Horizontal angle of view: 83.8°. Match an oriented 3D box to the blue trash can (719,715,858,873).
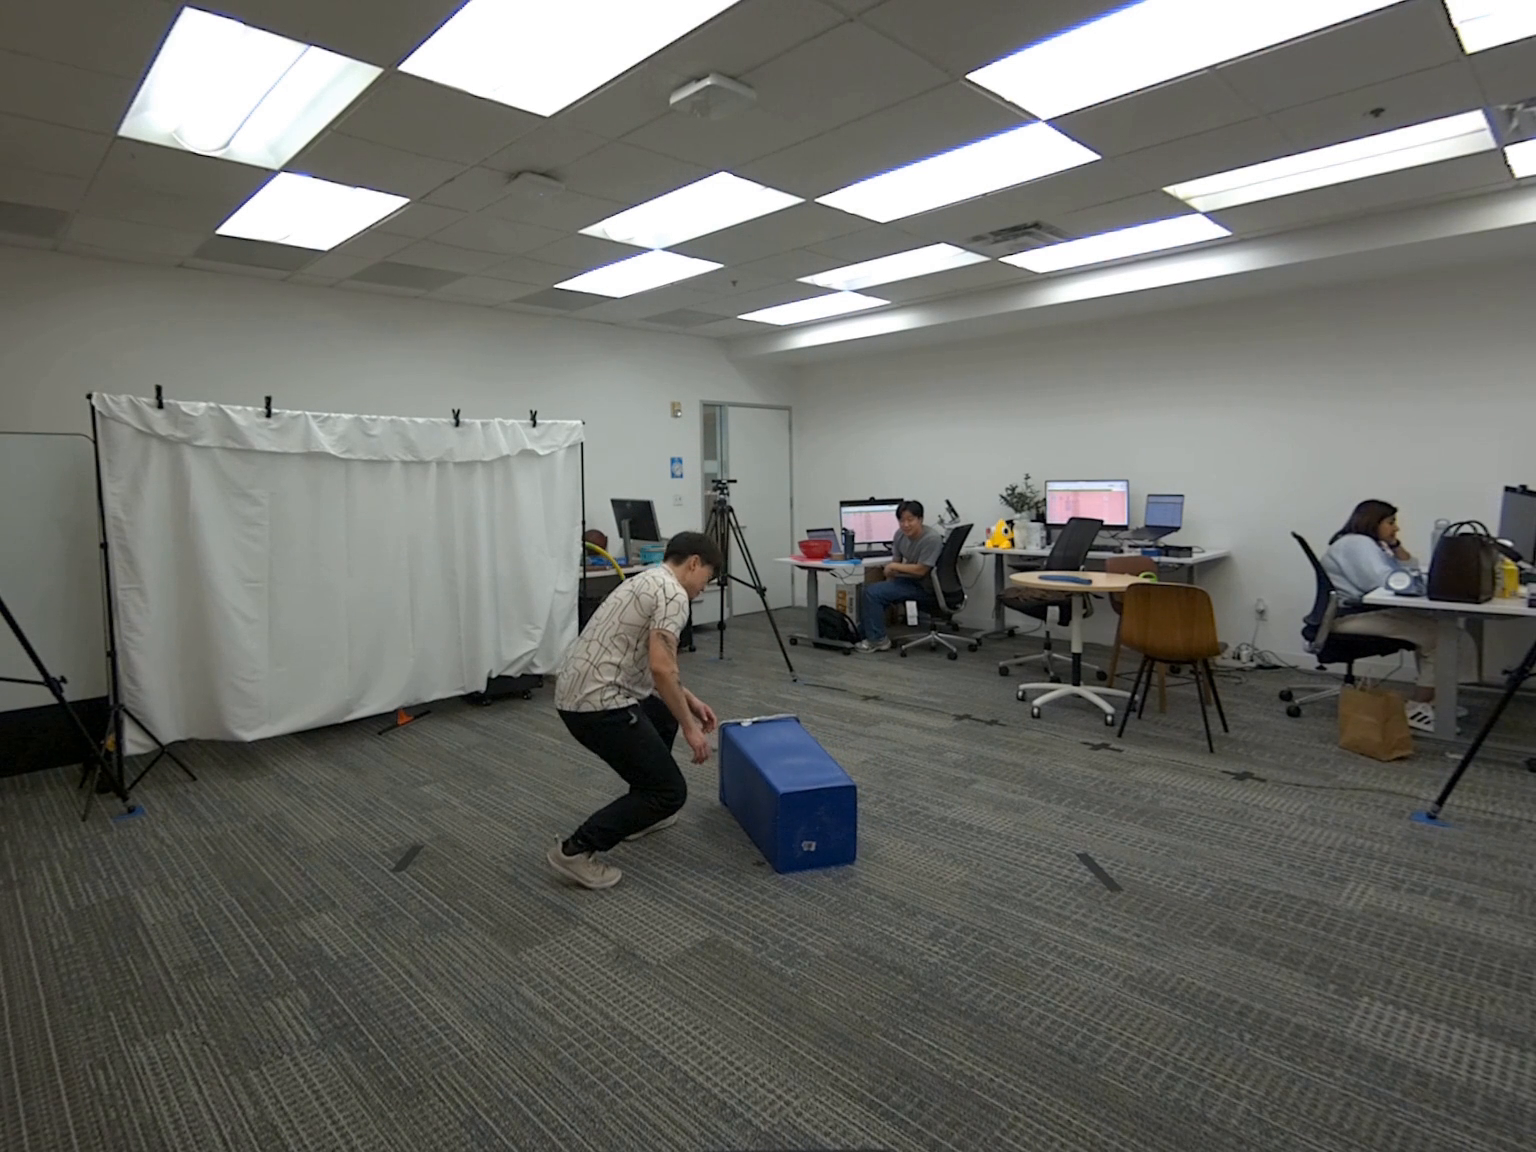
[{"bbox_3d":[0.063,0.847,3.382,0.373,0.371,0.729,-3,10,-16],"label":"blue trash can"}]
